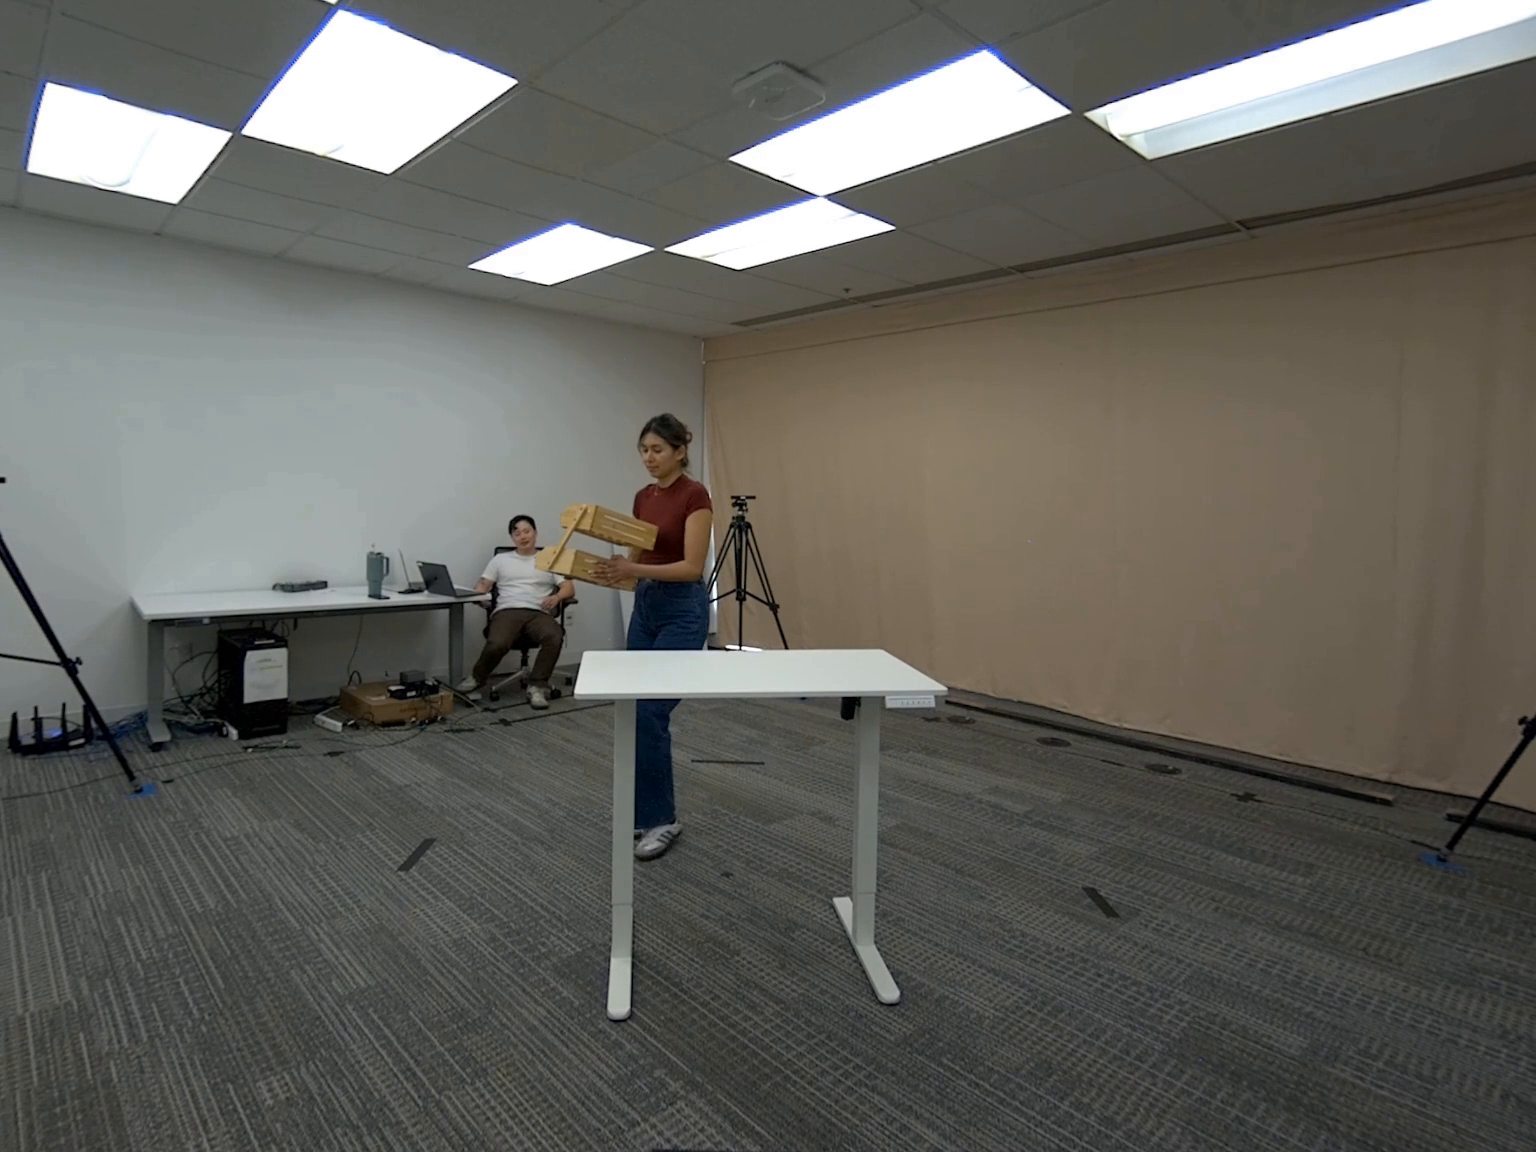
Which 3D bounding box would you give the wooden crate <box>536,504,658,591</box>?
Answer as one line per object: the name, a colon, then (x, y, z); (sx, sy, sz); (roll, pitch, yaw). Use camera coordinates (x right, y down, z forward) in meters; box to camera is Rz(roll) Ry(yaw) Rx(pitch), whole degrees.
wooden crate: (-0.653, -0.111, 3.151); (0.310, 0.274, 0.315); (8, -8, 43)
